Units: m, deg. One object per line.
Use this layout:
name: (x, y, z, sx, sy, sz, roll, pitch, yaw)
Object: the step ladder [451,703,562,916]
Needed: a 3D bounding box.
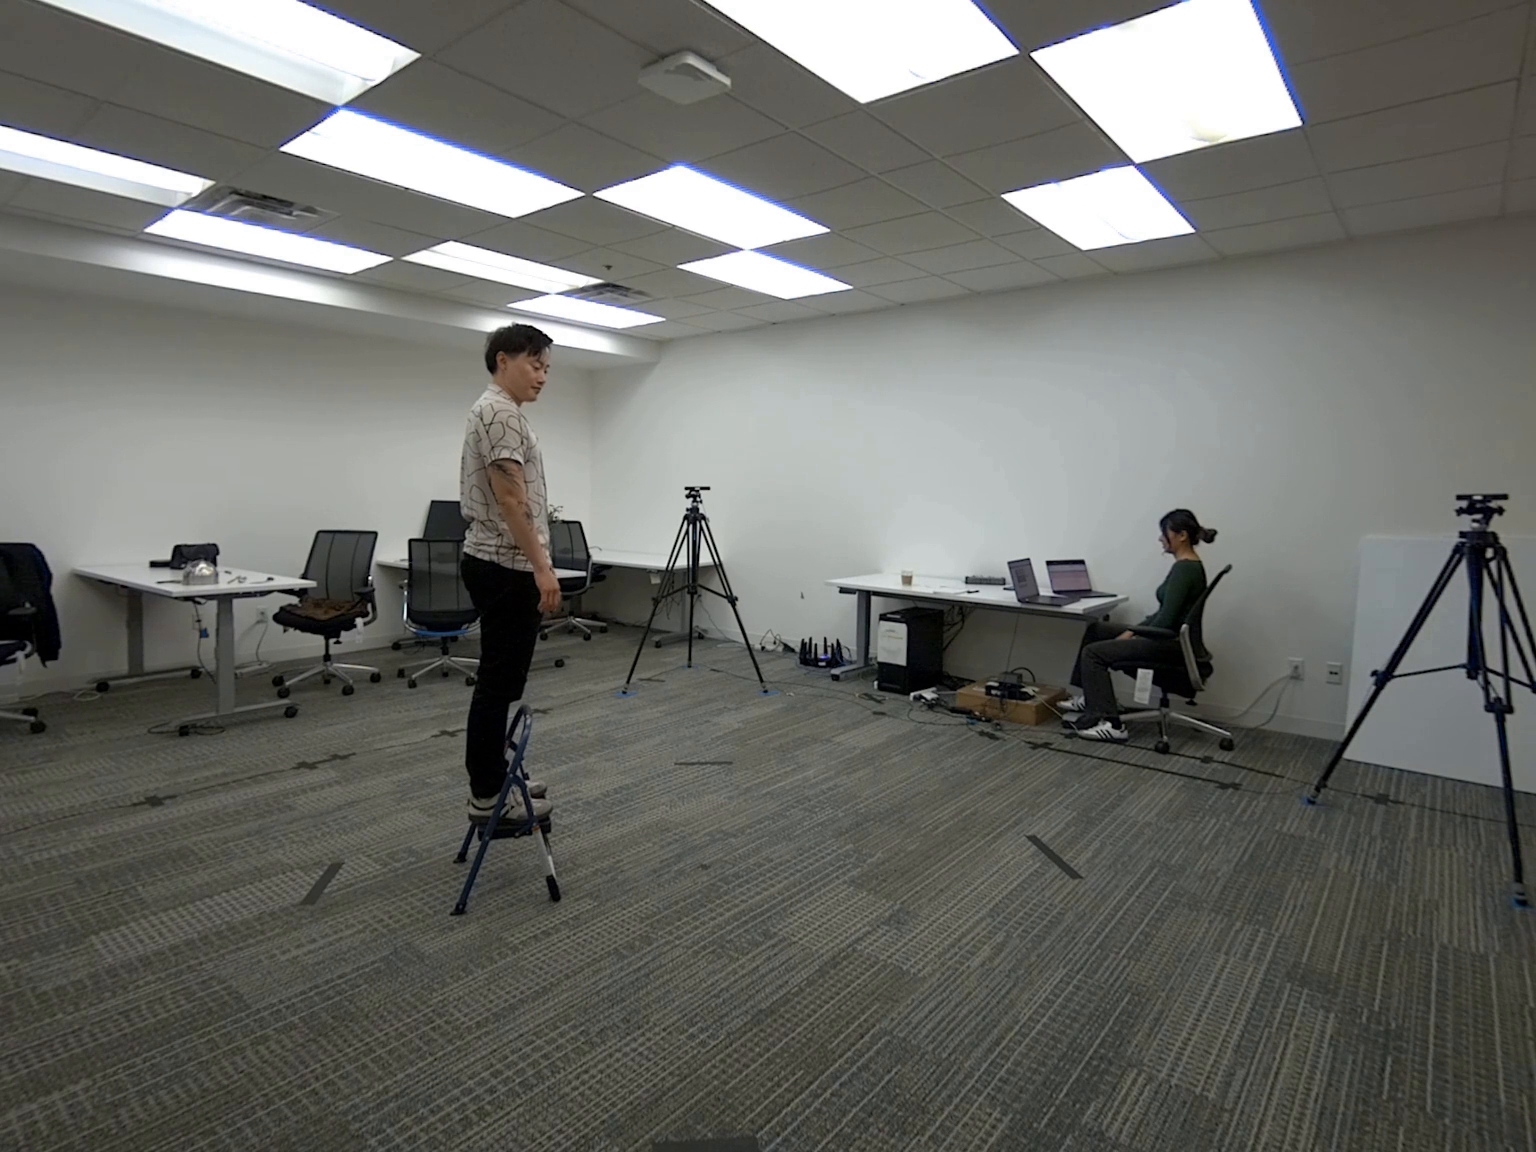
step ladder: (-0.930, 0.770, 2.975, 0.343, 0.604, 0.440, 0, 4, -18)
